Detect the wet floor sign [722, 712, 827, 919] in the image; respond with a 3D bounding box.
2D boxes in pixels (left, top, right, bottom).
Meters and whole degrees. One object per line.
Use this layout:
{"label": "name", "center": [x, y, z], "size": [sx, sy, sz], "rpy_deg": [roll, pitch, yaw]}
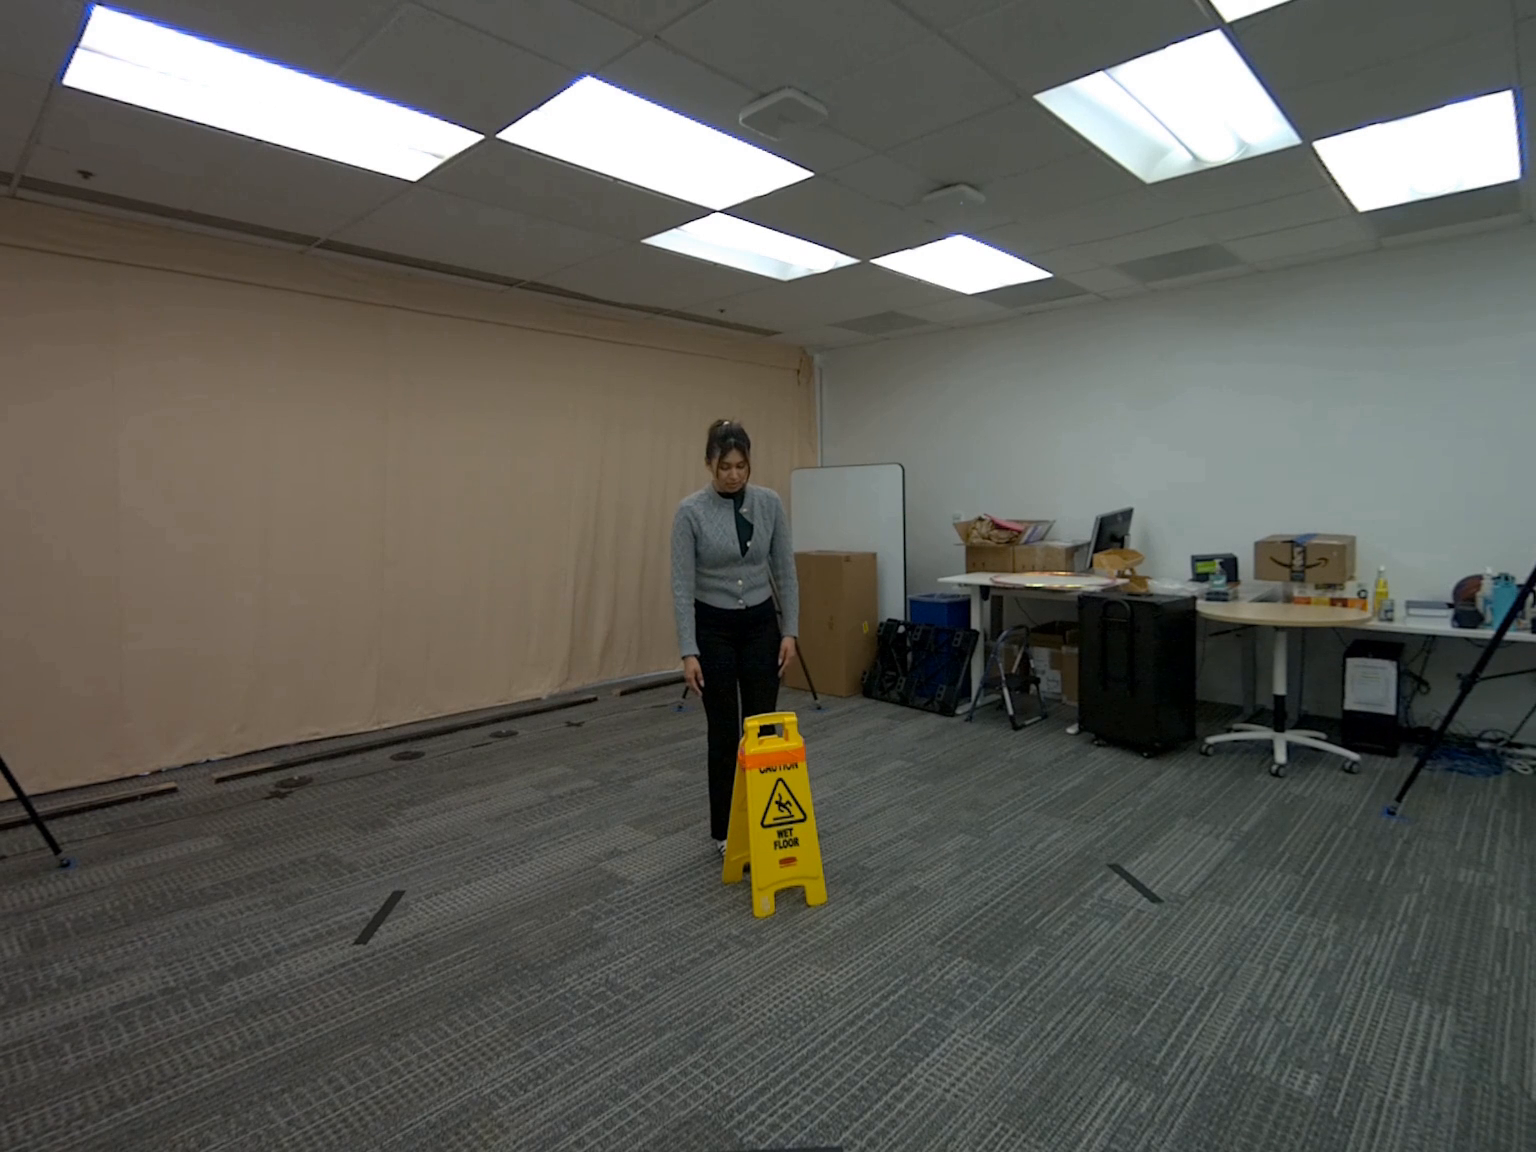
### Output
{"label": "wet floor sign", "center": [0.019, 0.809, 3.003], "size": [0.276, 0.644, 0.297], "rpy_deg": [-3, 4, -23]}
